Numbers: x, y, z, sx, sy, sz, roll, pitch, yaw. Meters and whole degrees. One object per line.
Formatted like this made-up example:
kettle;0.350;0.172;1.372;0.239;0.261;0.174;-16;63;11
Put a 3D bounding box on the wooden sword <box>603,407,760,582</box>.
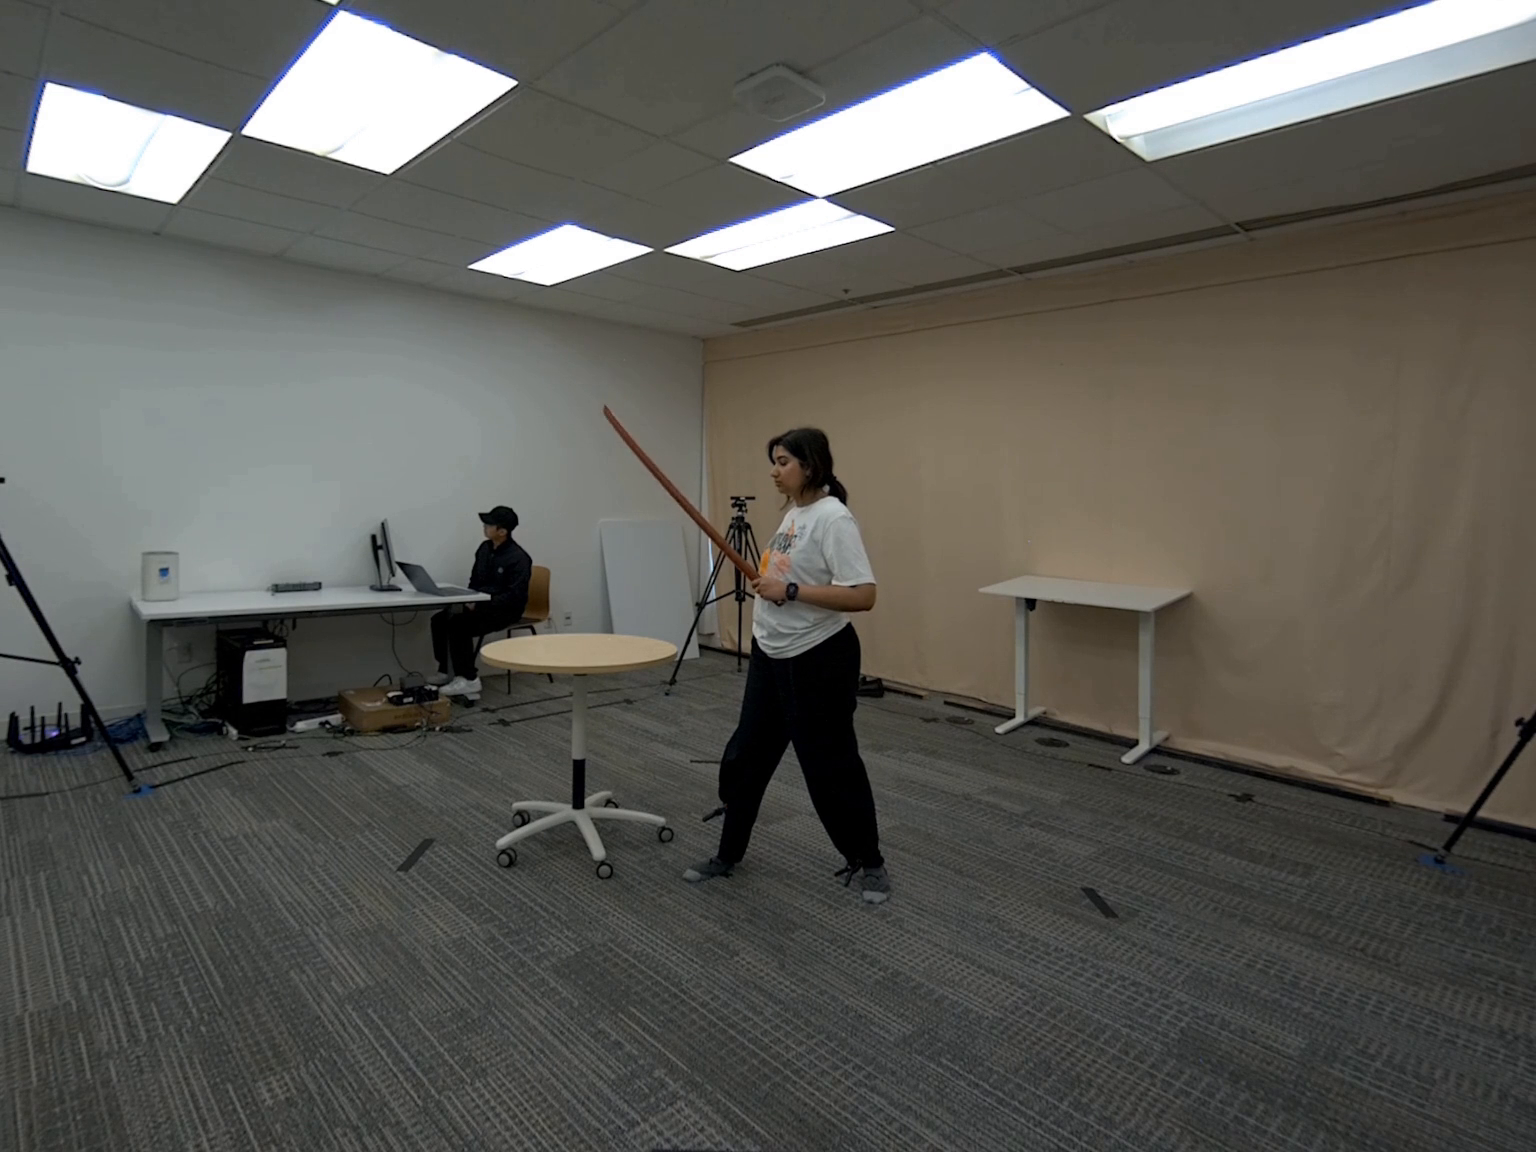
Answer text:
wooden sword;-0.298;-0.257;2.978;0.024;1.047;0.050;-31;-23;-26
